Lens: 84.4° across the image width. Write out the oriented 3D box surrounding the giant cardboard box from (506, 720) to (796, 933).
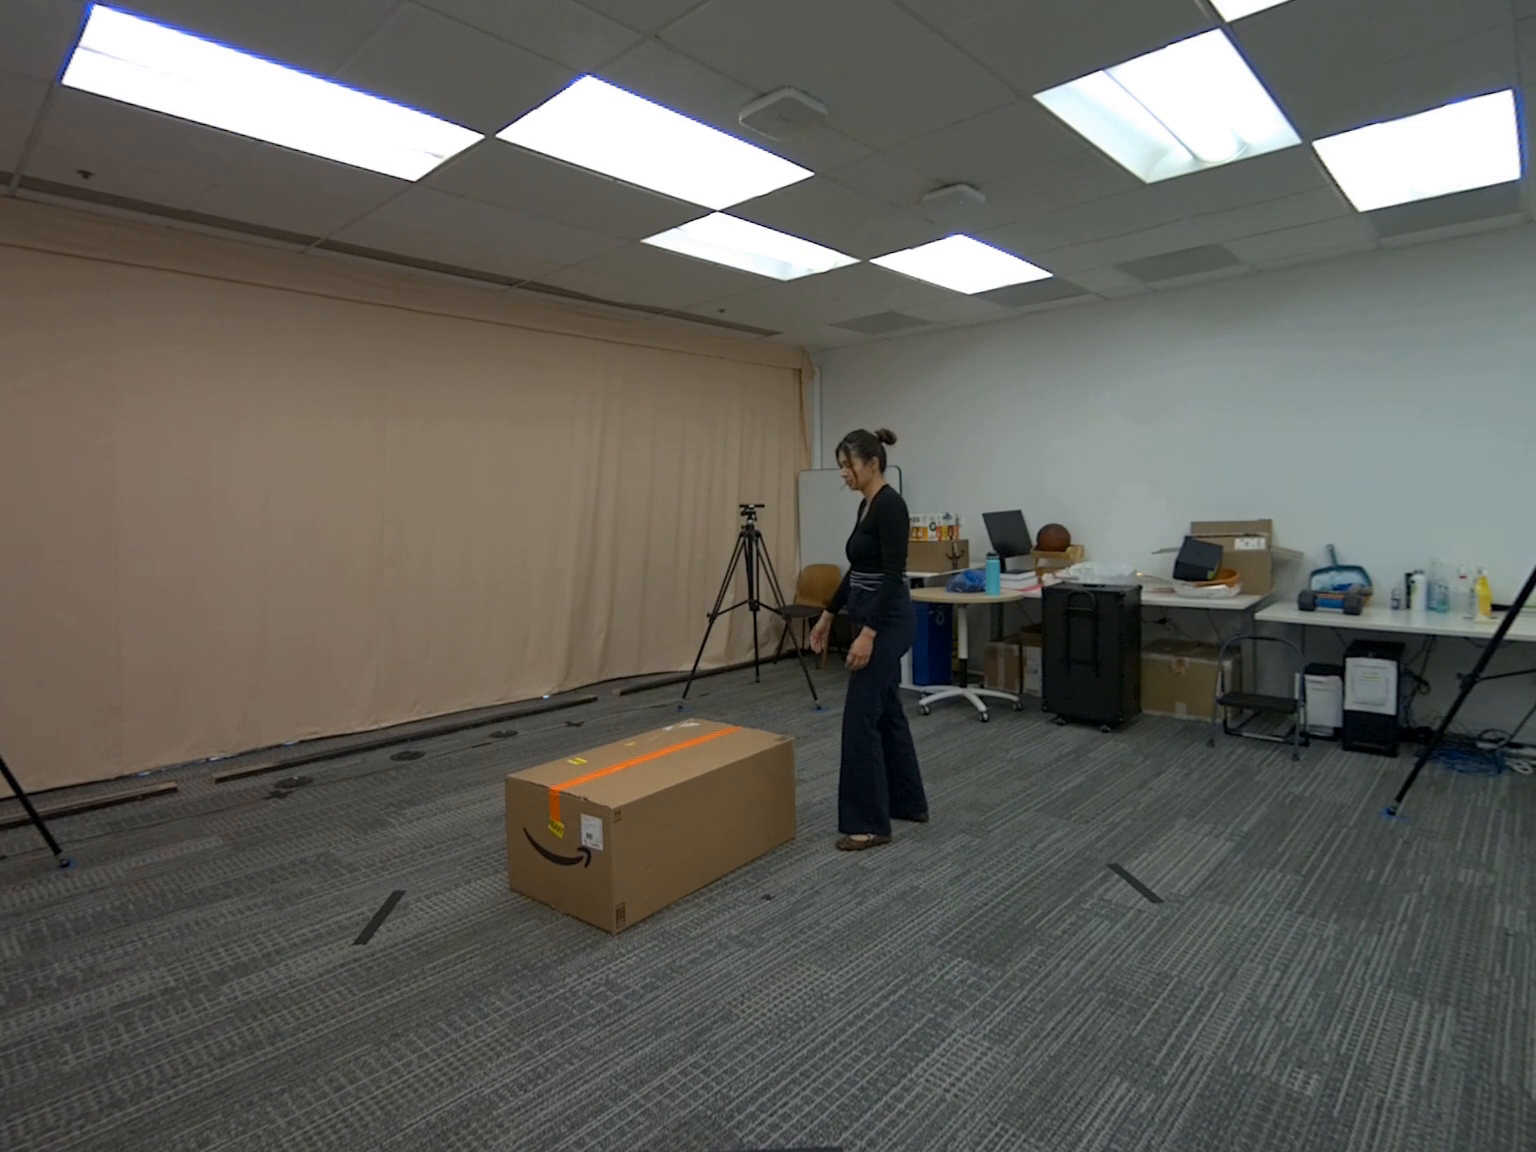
[{"bbox_3d":[-0.425,0.911,3.292,0.596,0.425,0.996,1,5,38],"label":"giant cardboard box"}]
